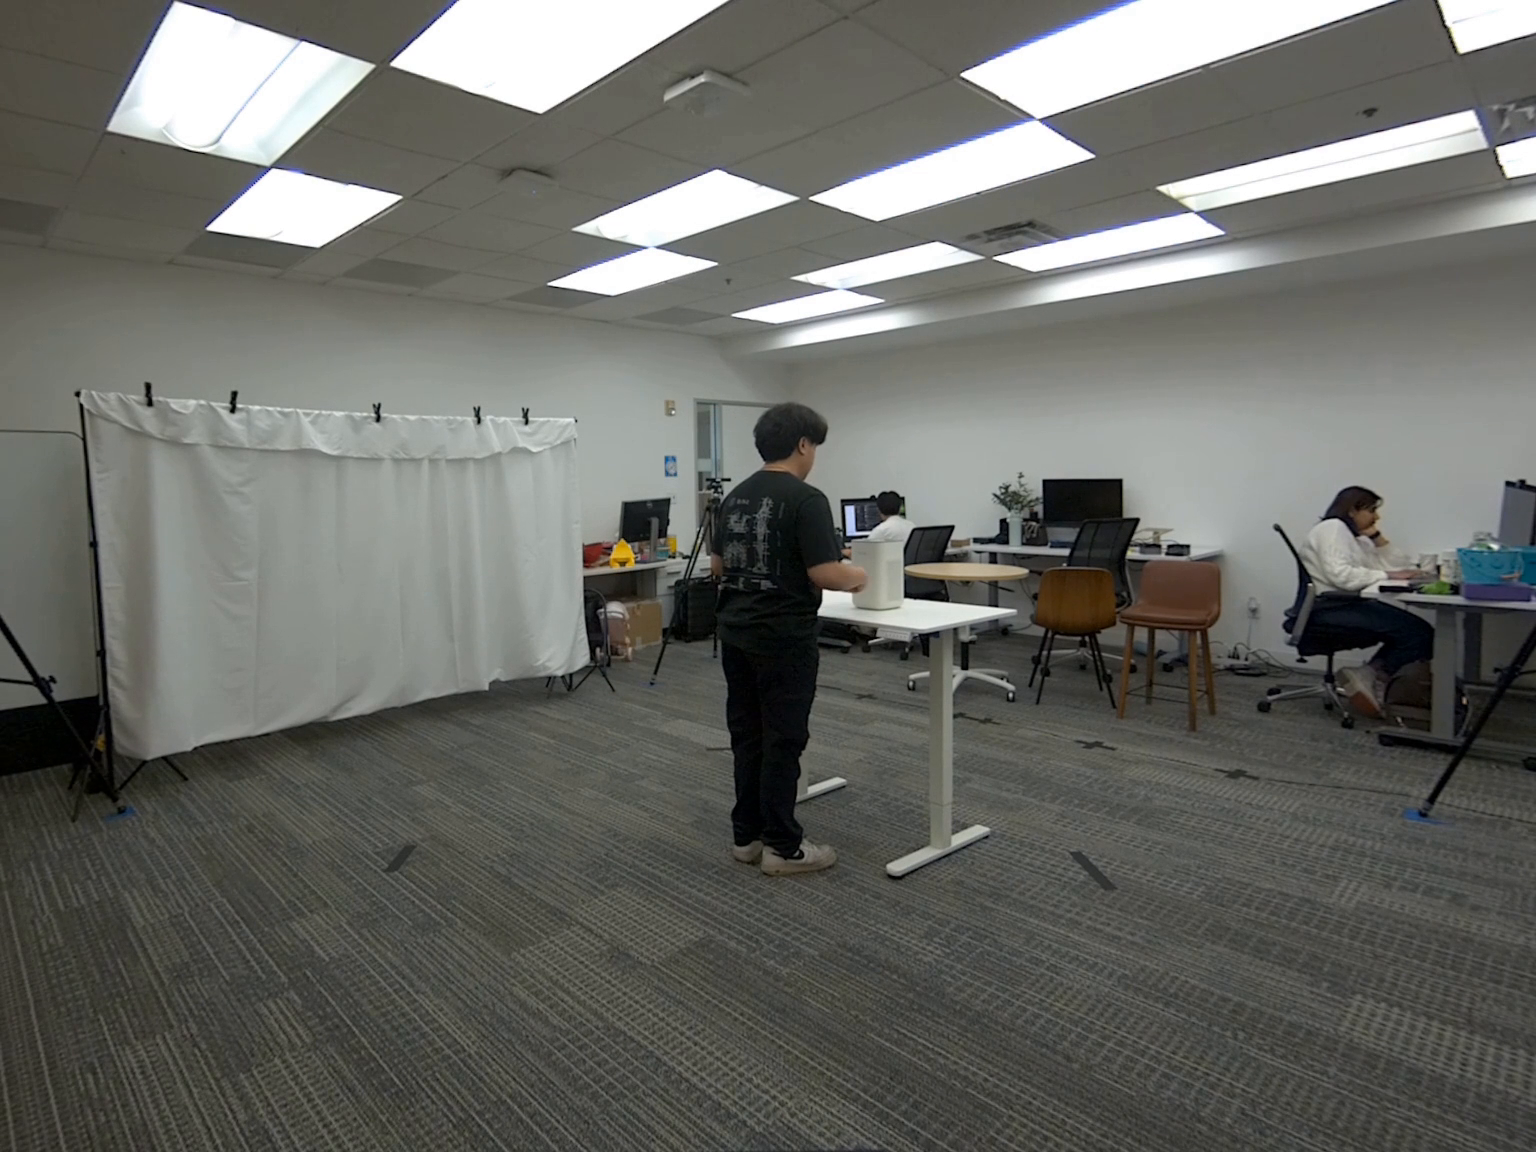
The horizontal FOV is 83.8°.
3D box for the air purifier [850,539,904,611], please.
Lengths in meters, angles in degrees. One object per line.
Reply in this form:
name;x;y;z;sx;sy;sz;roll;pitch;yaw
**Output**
air purifier;0.436;-0.006;3.334;0.167;0.264;0.176;-3;5;-40
